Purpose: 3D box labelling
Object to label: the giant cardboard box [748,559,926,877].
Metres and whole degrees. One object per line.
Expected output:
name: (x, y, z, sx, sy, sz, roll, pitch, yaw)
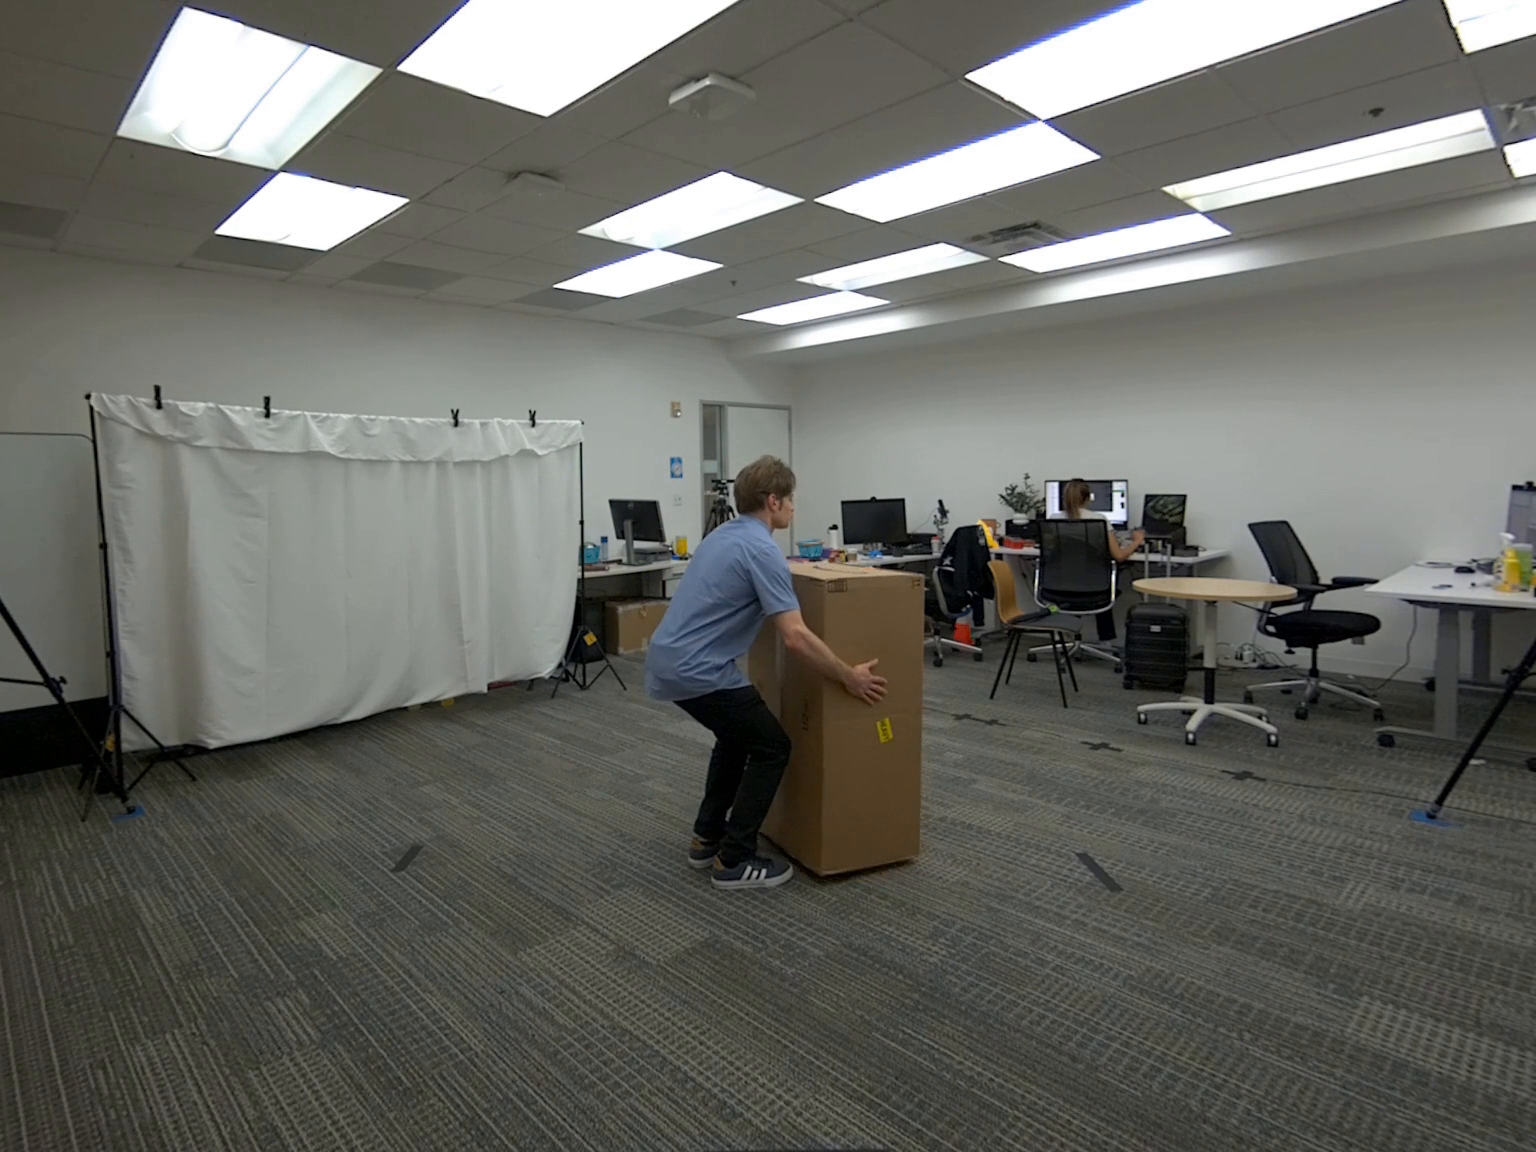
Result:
giant cardboard box: (0.239, 0.479, 3.241, 0.417, 1.023, 0.592, -1, 3, -27)
